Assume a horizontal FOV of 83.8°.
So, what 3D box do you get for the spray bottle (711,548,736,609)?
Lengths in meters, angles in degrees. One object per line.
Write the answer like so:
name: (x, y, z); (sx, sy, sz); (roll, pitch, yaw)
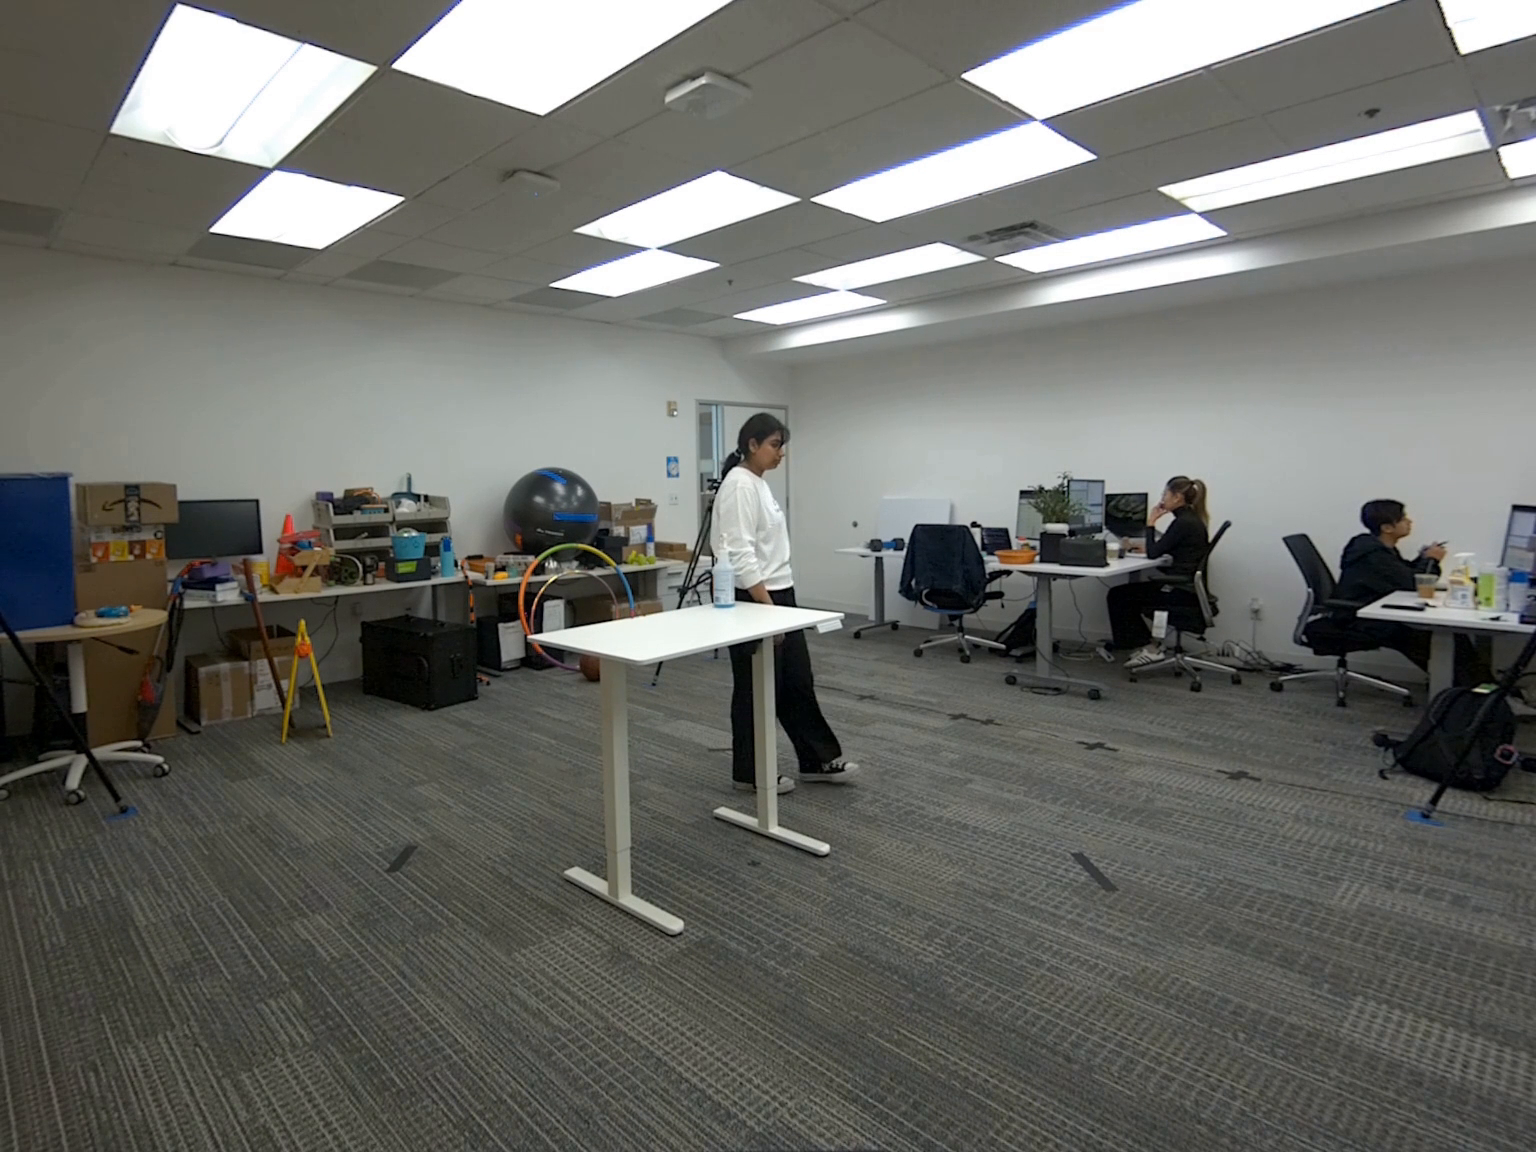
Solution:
spray bottle: (-0.189, -0.018, 3.444); (0.088, 0.296, 0.089); (0, 3, 16)
